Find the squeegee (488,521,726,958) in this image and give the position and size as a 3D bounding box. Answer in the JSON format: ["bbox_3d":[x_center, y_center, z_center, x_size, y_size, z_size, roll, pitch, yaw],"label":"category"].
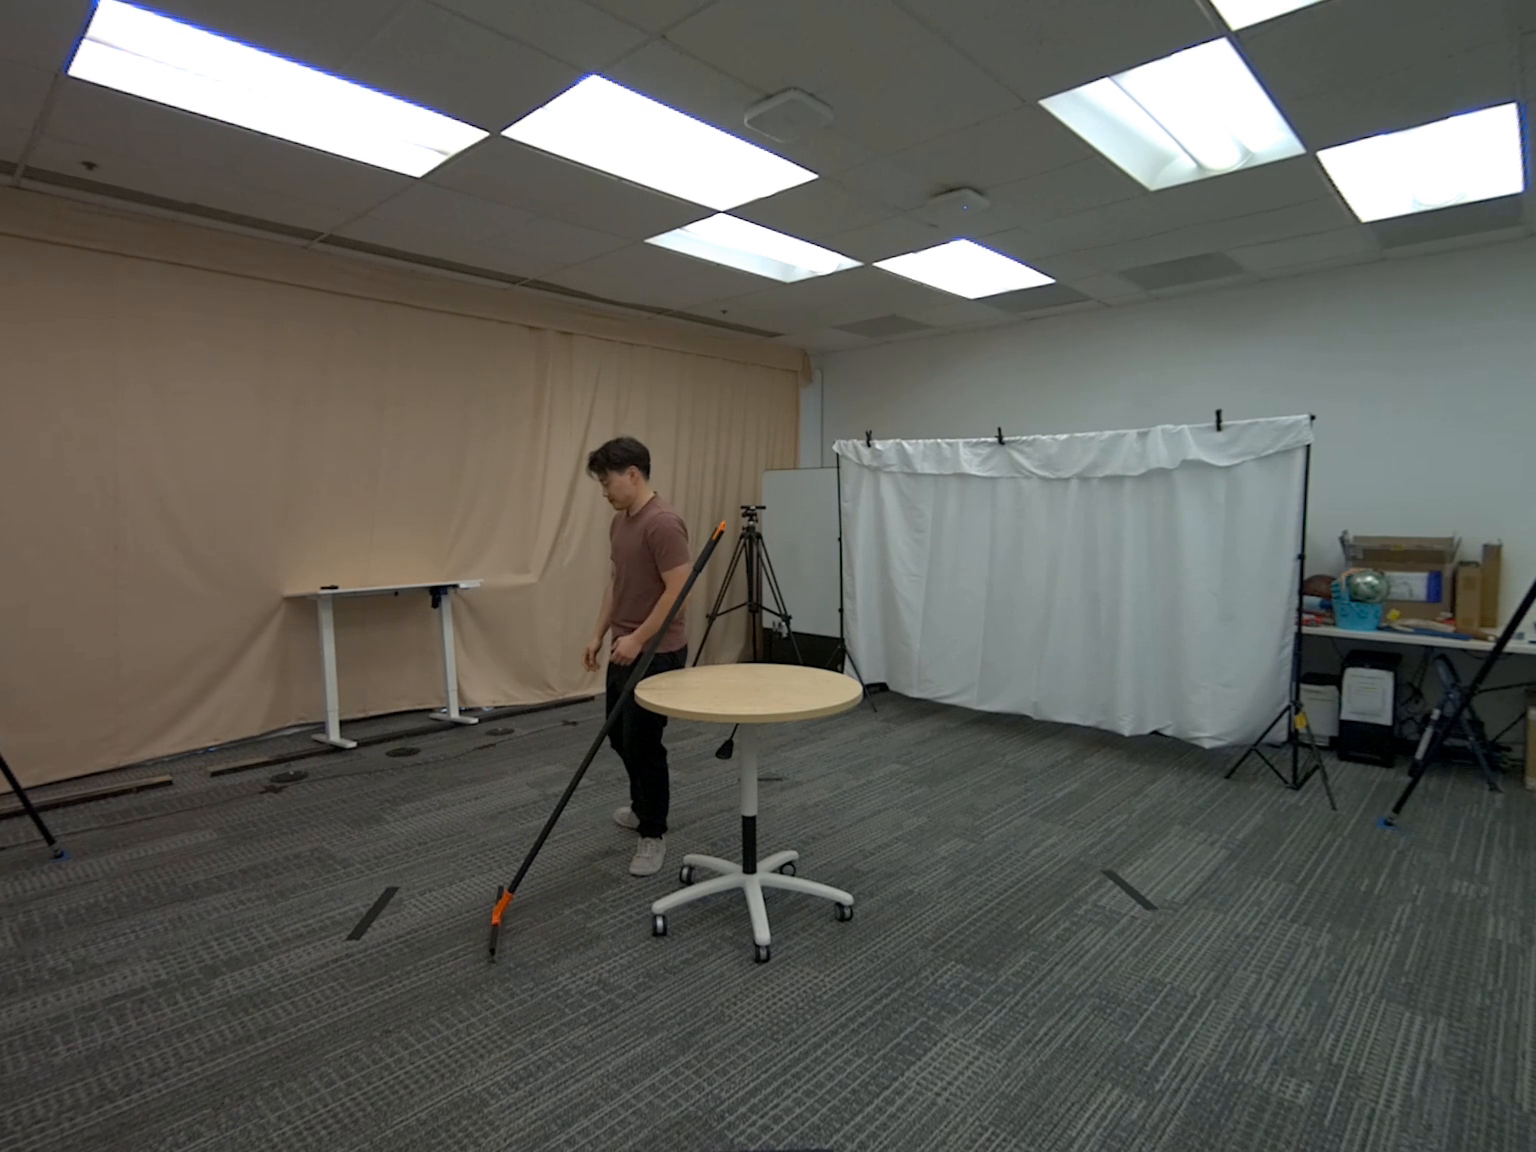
[{"bbox_3d":[-0.541,0.476,2.813,0.052,1.538,0.442,29,-3,-11],"label":"squeegee"}]
